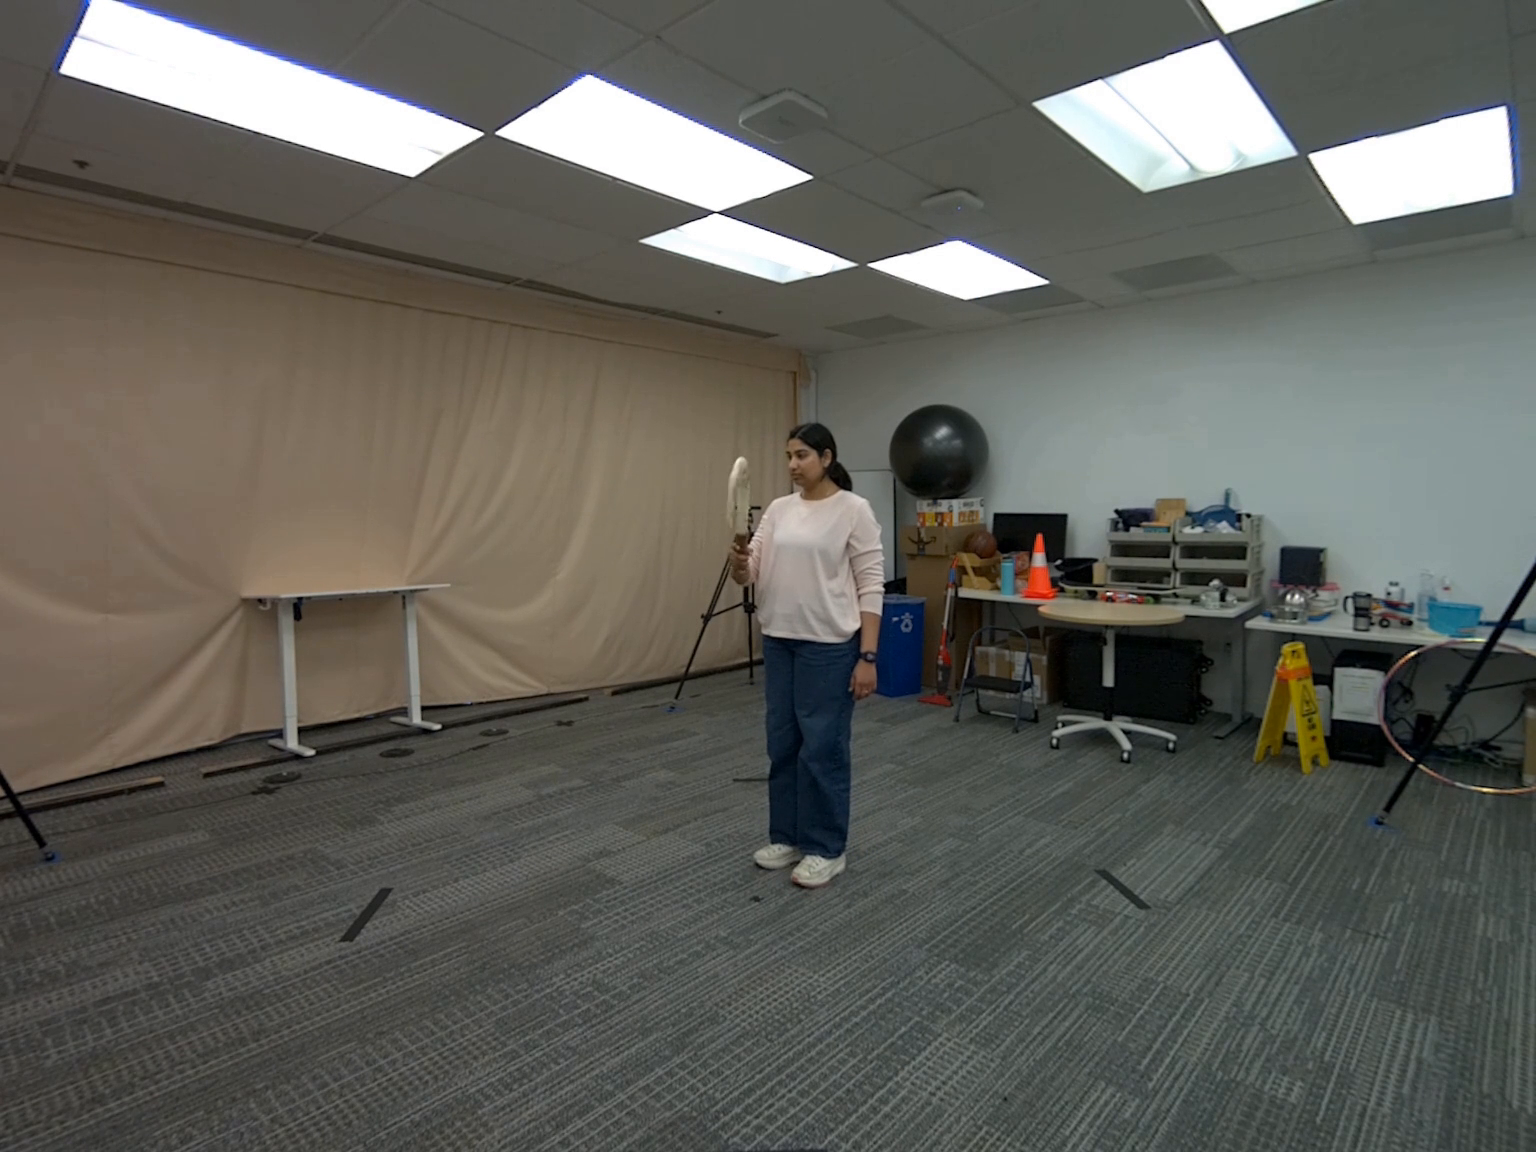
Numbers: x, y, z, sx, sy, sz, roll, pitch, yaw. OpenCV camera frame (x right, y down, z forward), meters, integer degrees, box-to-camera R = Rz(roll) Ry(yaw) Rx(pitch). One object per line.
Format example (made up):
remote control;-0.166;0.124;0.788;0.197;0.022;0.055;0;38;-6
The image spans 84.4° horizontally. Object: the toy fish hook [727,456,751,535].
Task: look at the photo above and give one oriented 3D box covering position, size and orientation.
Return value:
toy fish hook;-0.102;-0.160;2.820;0.049;0.496;0.225;10;42;13
